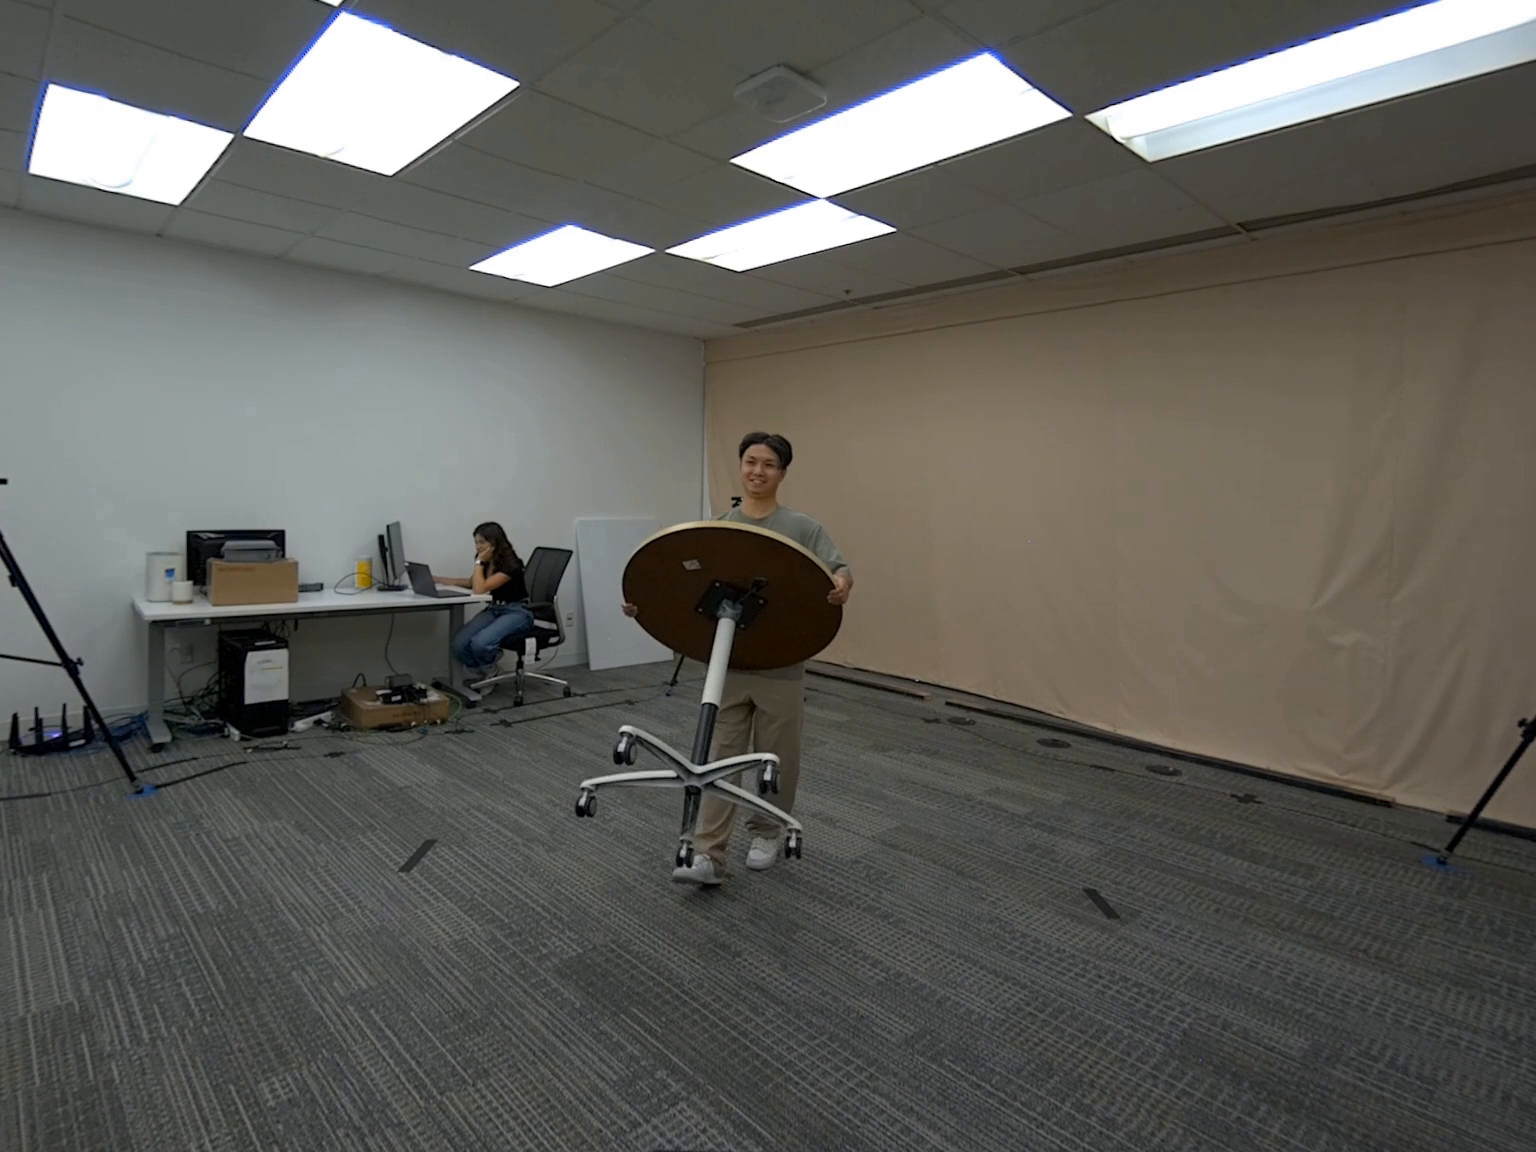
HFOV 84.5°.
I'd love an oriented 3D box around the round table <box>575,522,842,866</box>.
[{"bbox_3d":[-0.194,0.387,2.634,0.792,0.765,0.799,2,48,10],"label":"round table"}]
